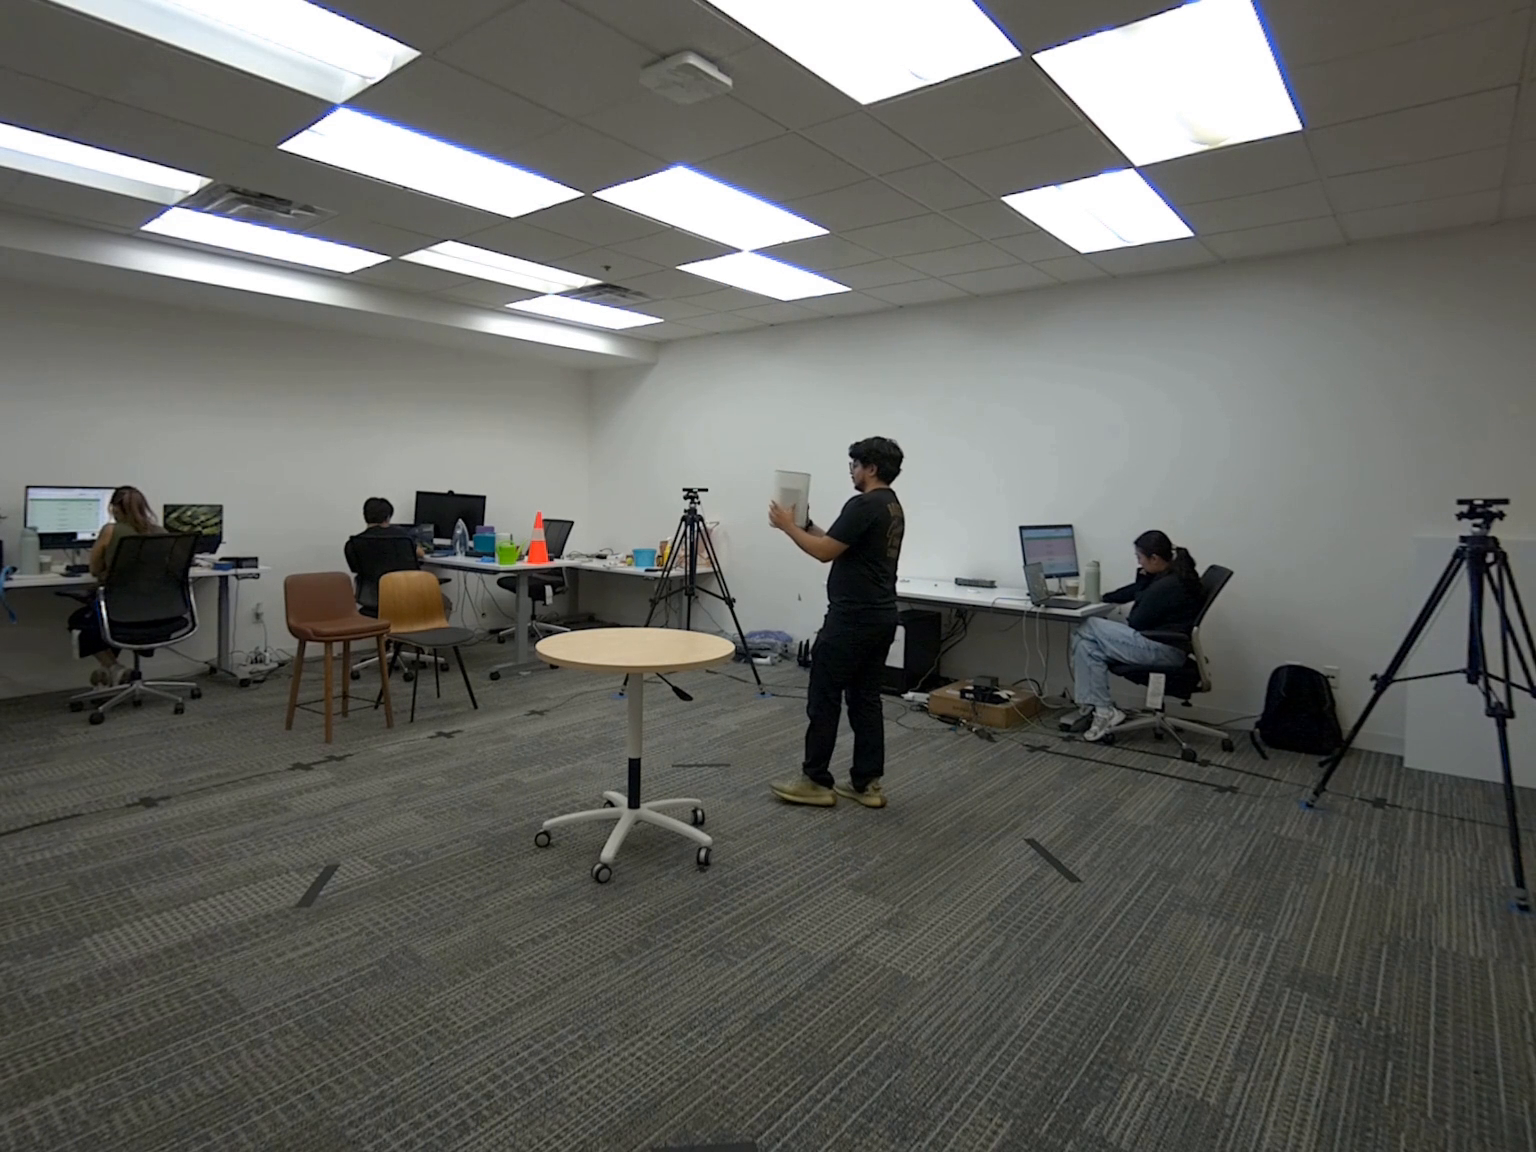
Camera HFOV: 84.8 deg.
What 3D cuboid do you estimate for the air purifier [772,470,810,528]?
[{"bbox_3d":[0.093,-0.360,4.000,0.171,0.265,0.172,4,1,-5],"label":"air purifier"}]
